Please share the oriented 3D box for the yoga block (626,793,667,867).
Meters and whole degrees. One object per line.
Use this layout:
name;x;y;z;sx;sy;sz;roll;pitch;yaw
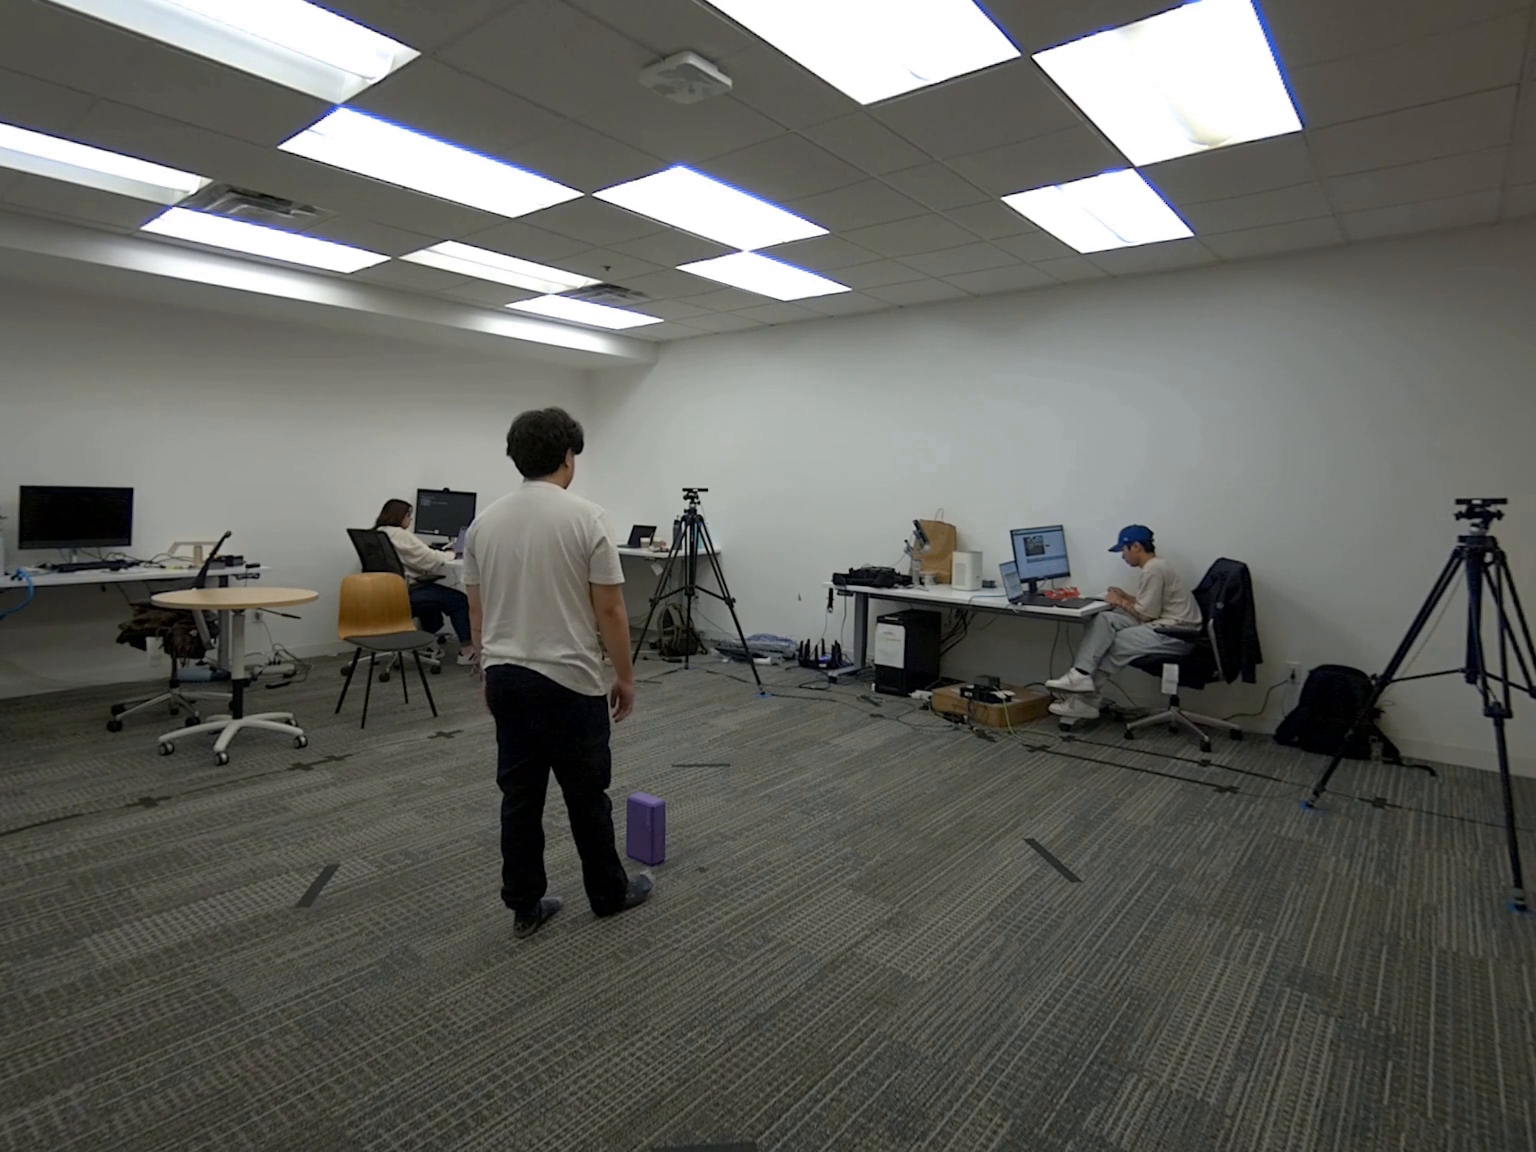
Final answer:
yoga block;-0.470;0.942;3.191;0.154;0.229;0.074;3;3;40
